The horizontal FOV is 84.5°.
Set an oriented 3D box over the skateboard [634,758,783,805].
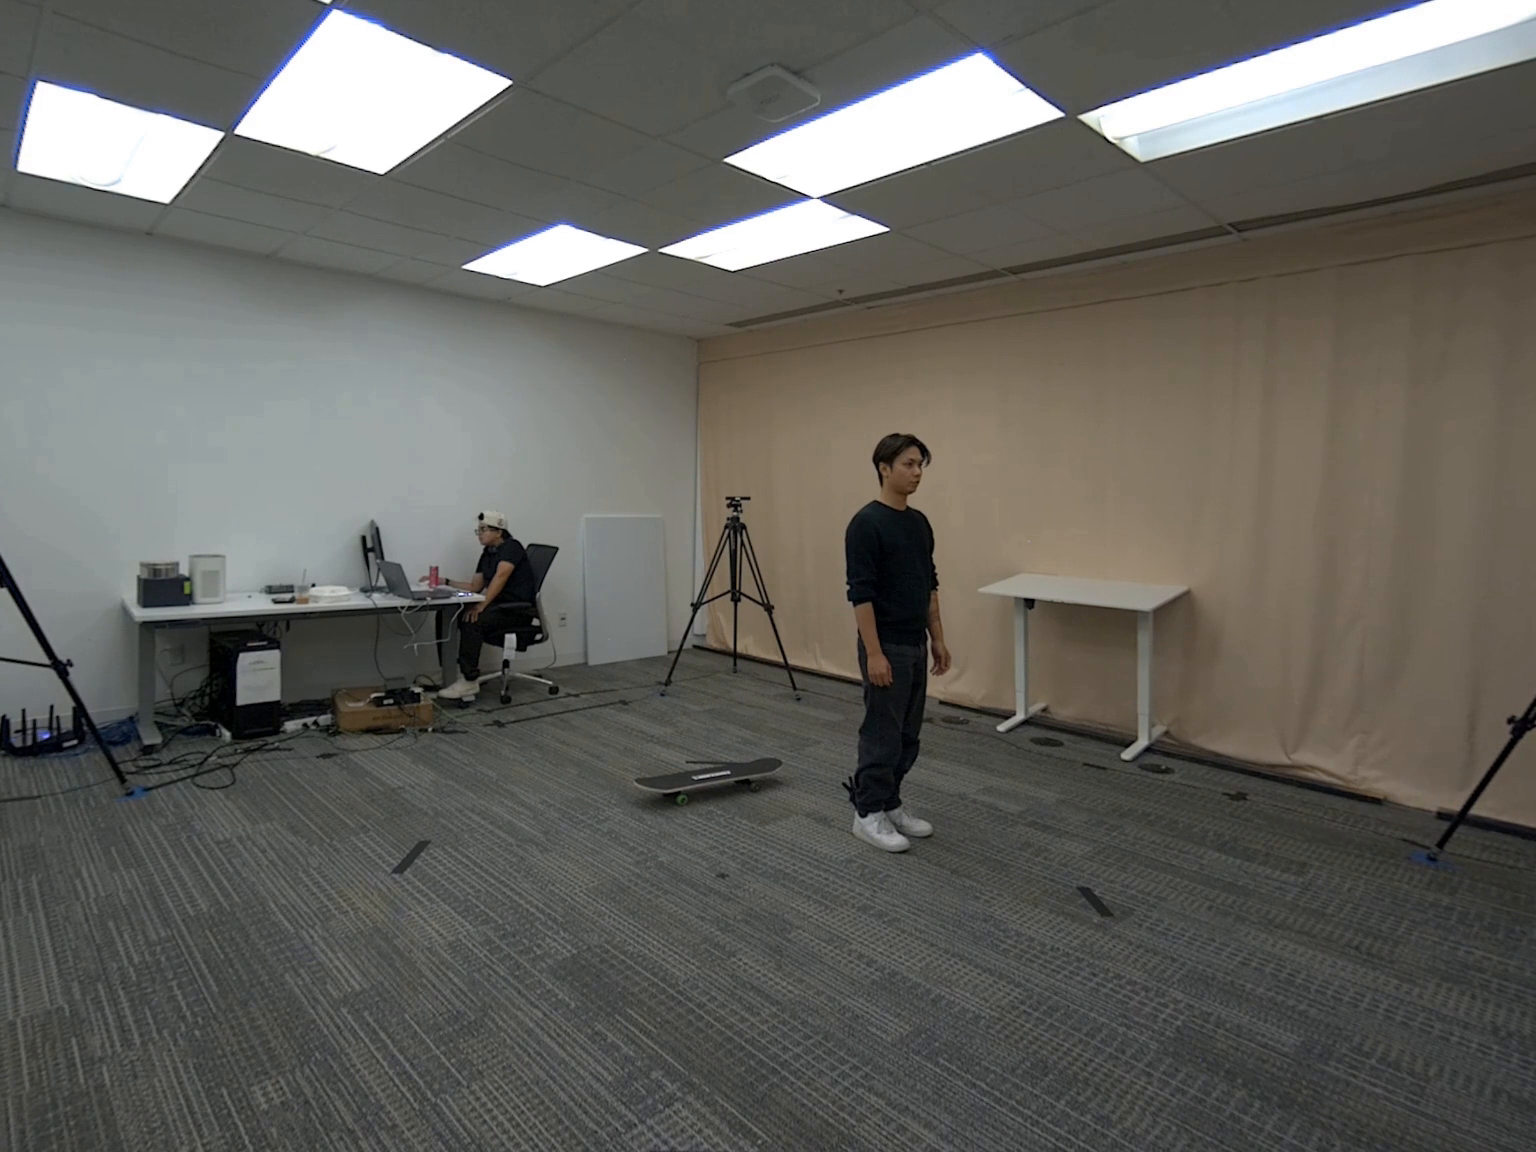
[{"bbox_3d":[-0.274,0.965,3.977,0.769,0.110,0.198,-2,6,-33],"label":"skateboard"}]
